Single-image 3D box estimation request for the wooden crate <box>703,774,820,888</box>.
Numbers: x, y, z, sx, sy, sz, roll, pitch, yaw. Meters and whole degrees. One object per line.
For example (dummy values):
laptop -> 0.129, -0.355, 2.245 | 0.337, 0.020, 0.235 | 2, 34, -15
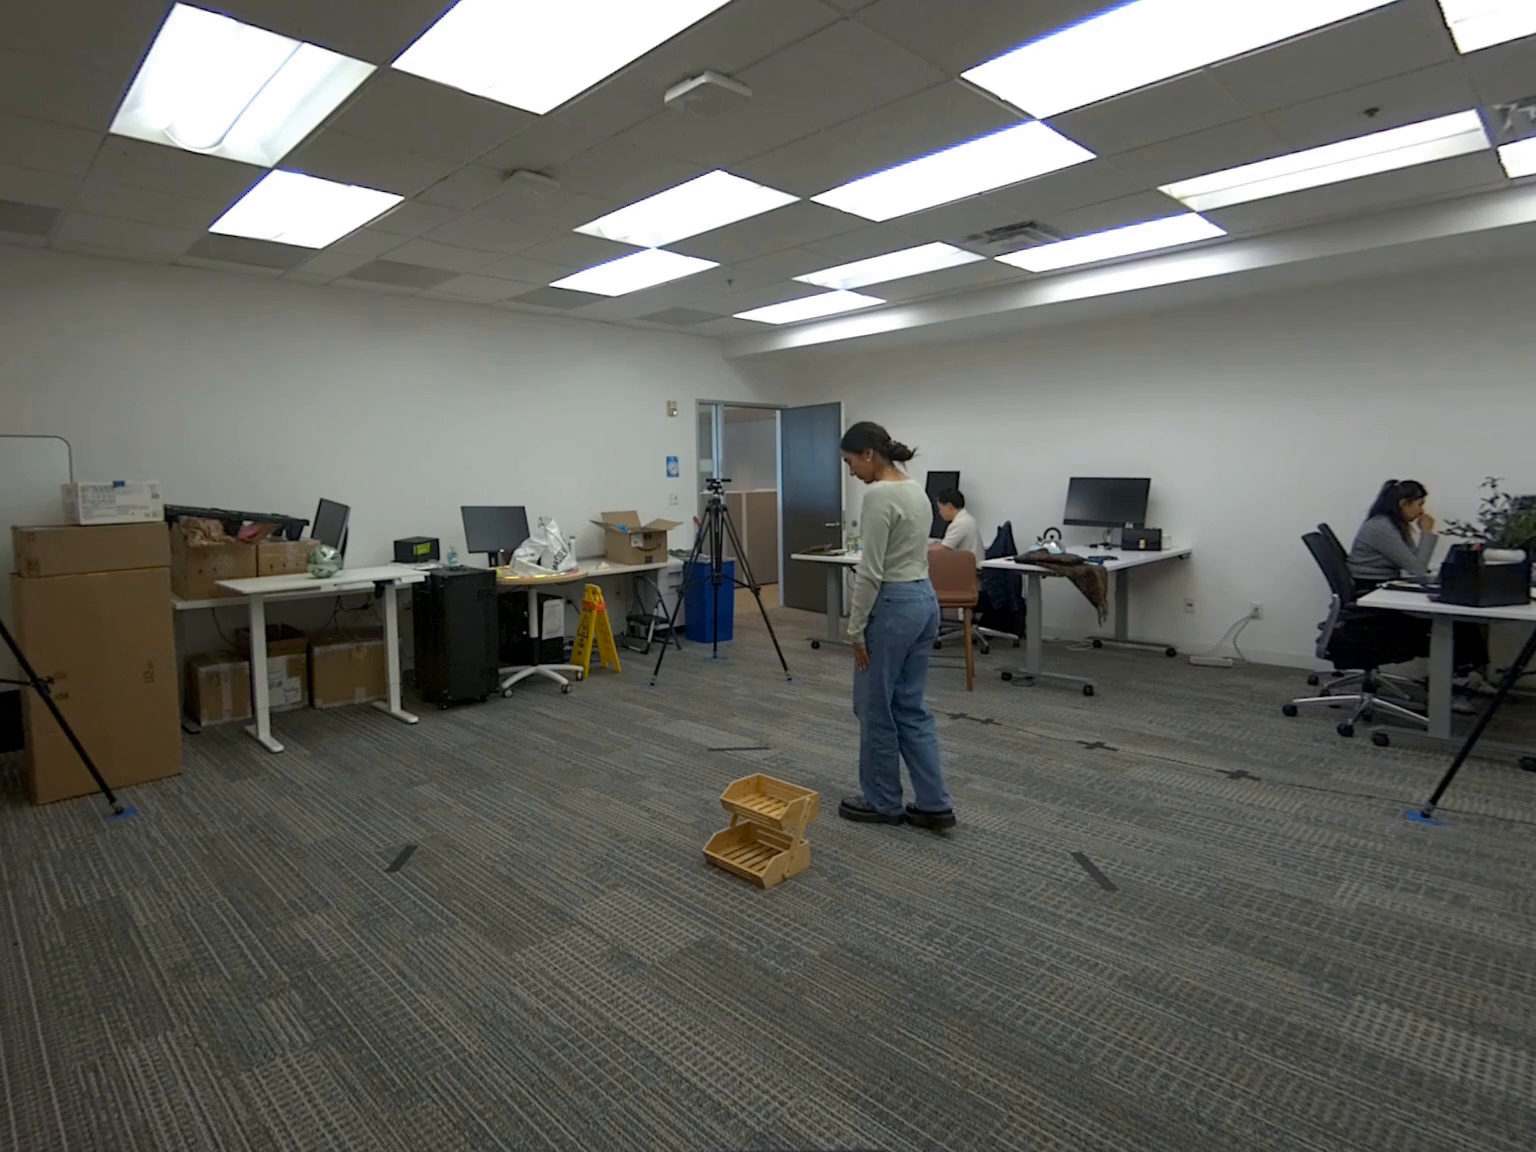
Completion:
wooden crate -> -0.026, 0.910, 3.101 | 0.334, 0.272, 0.294 | 4, 6, 44
